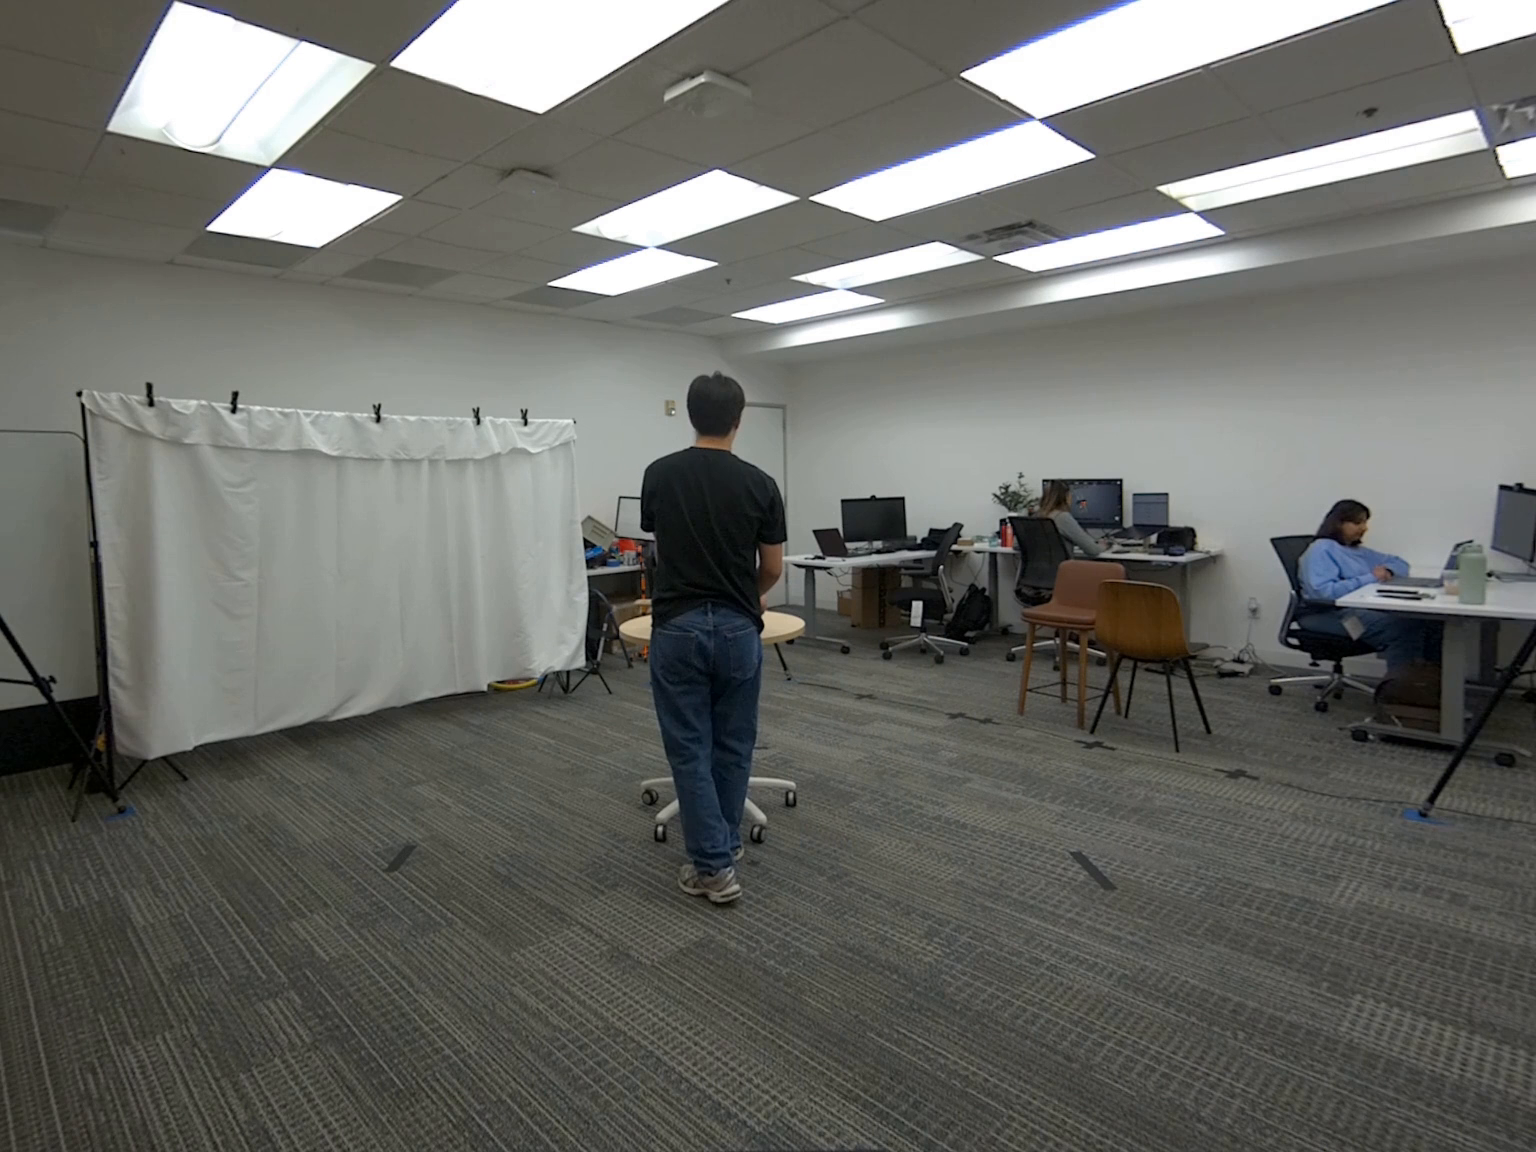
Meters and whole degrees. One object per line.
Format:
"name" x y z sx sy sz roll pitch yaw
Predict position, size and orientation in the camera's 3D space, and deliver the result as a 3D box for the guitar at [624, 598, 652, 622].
"guitar" -0.275 0.131 3.383 0.511 0.070 0.190 7 19 29
